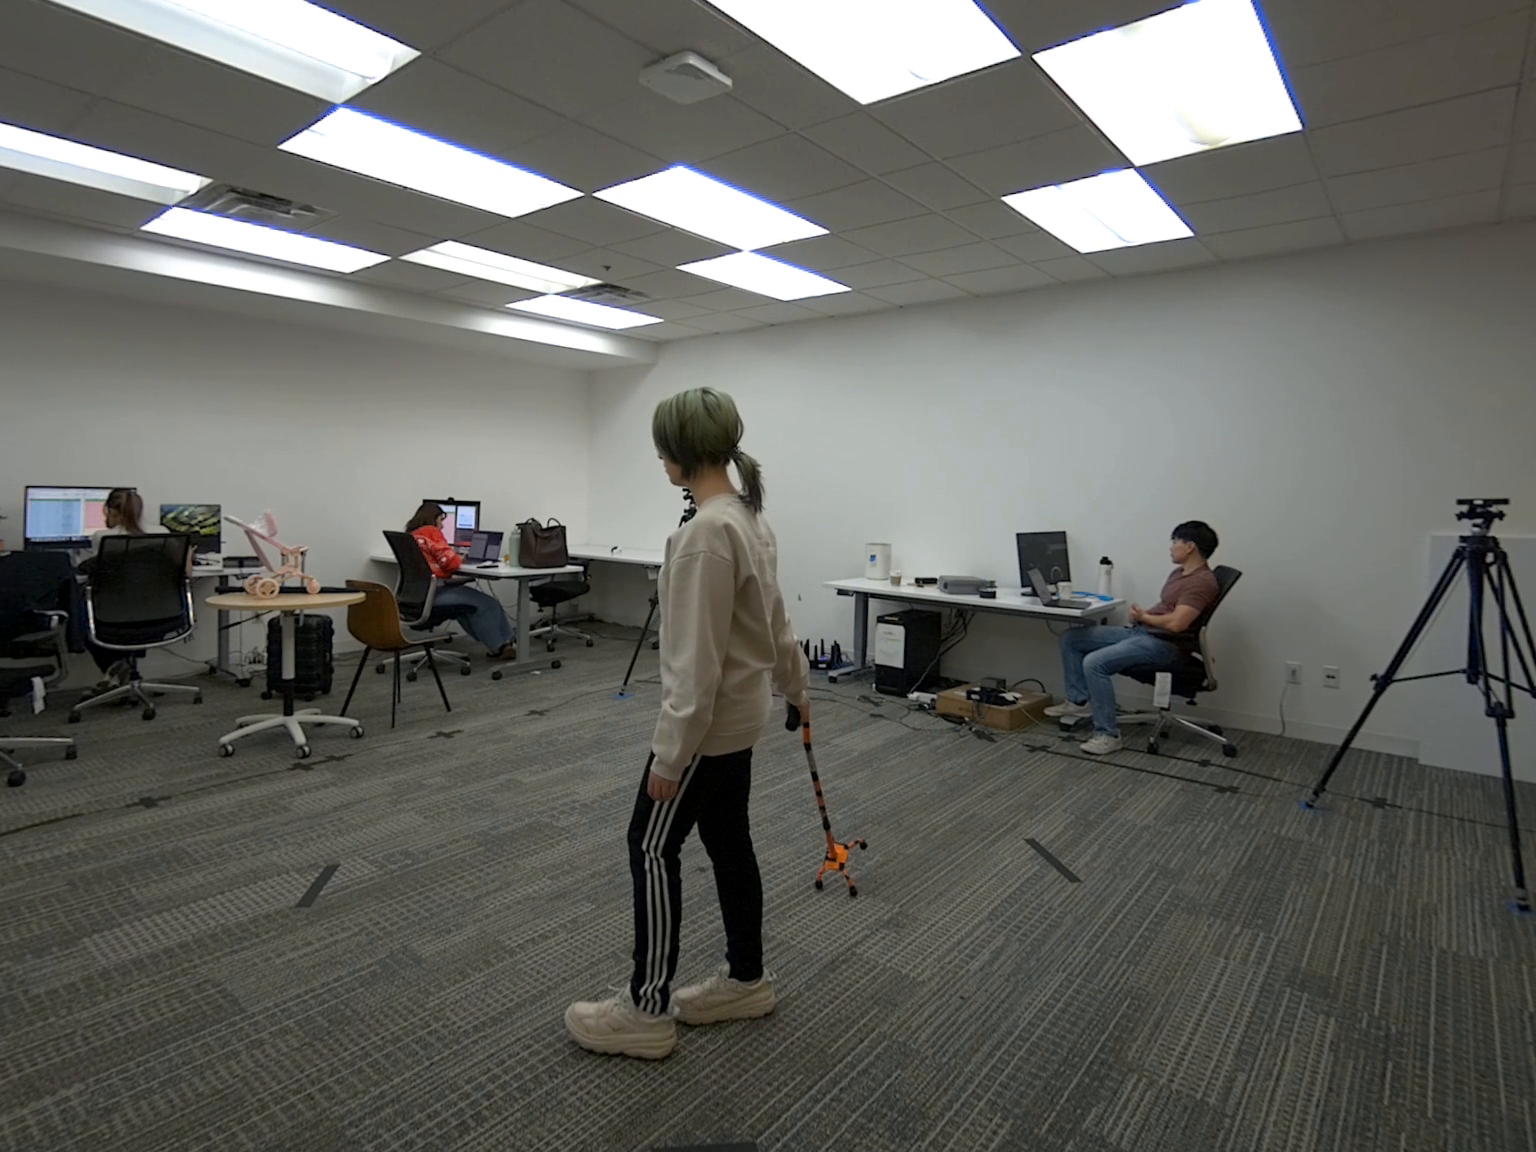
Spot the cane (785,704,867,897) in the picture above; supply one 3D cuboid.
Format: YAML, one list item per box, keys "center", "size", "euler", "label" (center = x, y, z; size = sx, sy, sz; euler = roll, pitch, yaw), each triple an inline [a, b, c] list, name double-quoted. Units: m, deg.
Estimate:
- center: [0.167, 0.695, 2.753]
  size: [0.155, 0.876, 0.208]
  euler: [5, 42, 22]
  label: "cane"
